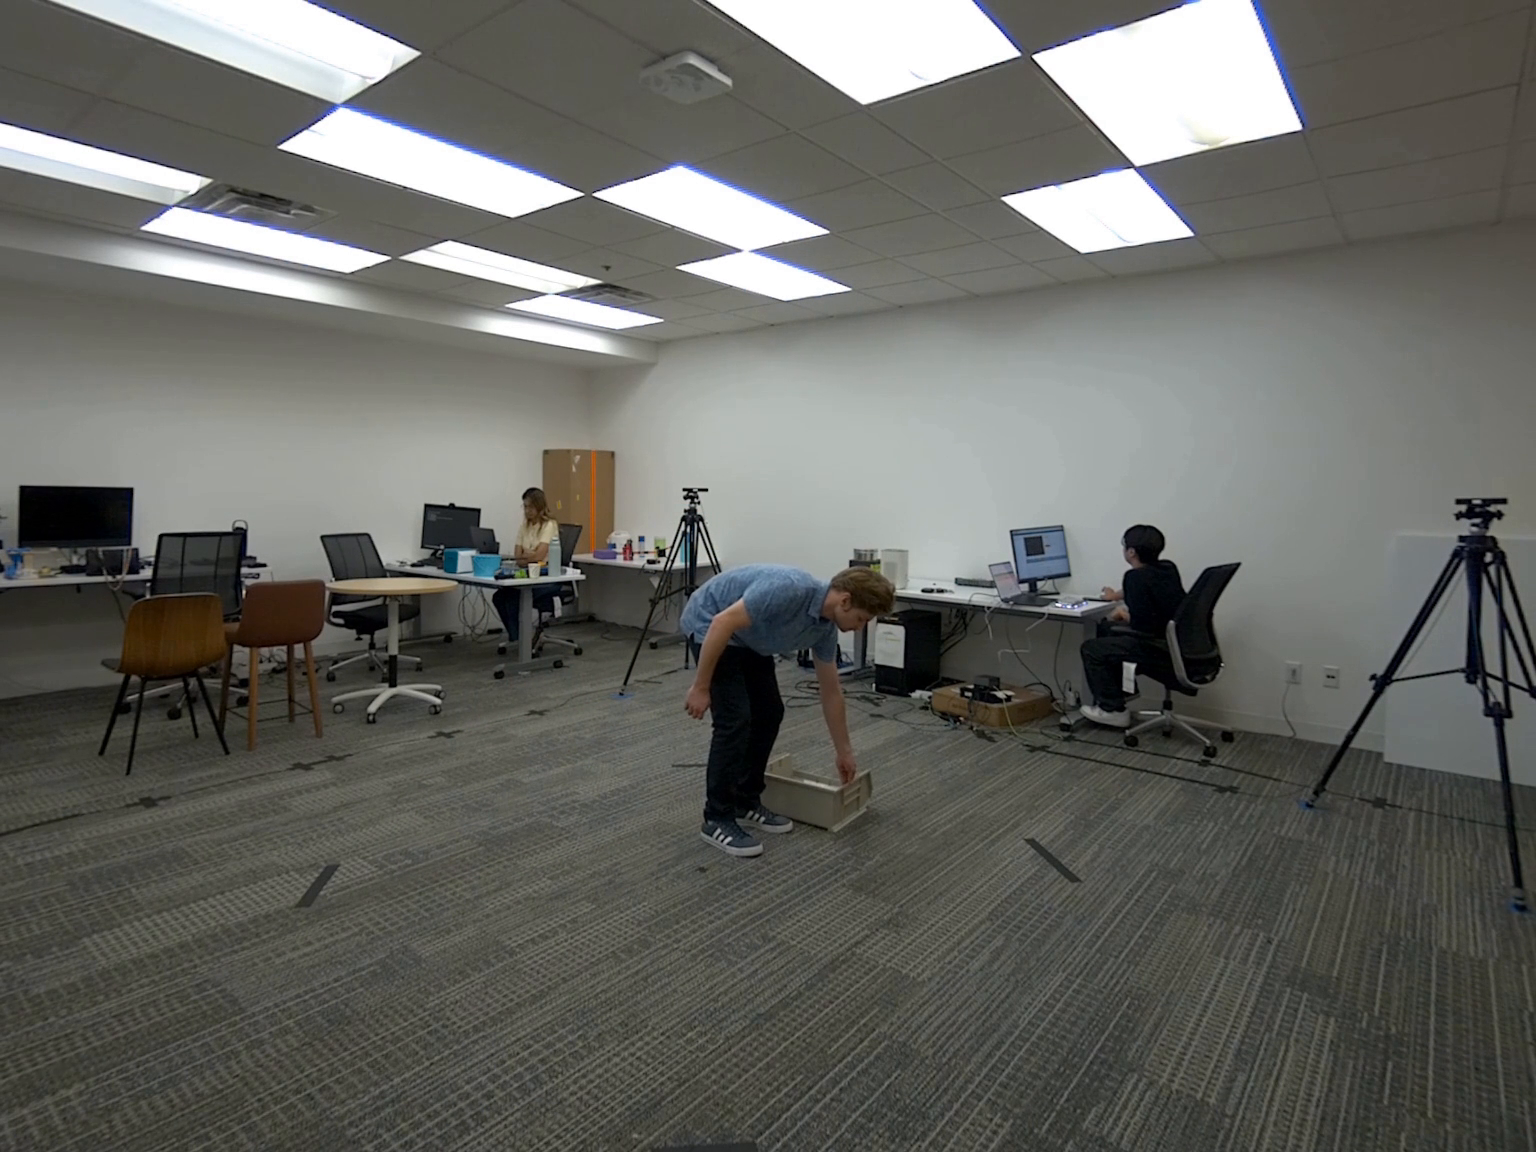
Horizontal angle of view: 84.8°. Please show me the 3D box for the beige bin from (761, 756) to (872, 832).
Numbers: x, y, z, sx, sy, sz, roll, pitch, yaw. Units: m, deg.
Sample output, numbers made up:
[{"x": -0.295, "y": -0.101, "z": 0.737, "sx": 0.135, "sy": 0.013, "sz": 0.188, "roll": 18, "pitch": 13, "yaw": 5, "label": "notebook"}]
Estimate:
[{"x": 0.182, "y": 0.923, "z": 3.722, "sx": 0.435, "sy": 0.188, "sz": 0.367, "roll": 4, "pitch": 7, "yaw": 33, "label": "beige bin"}]
